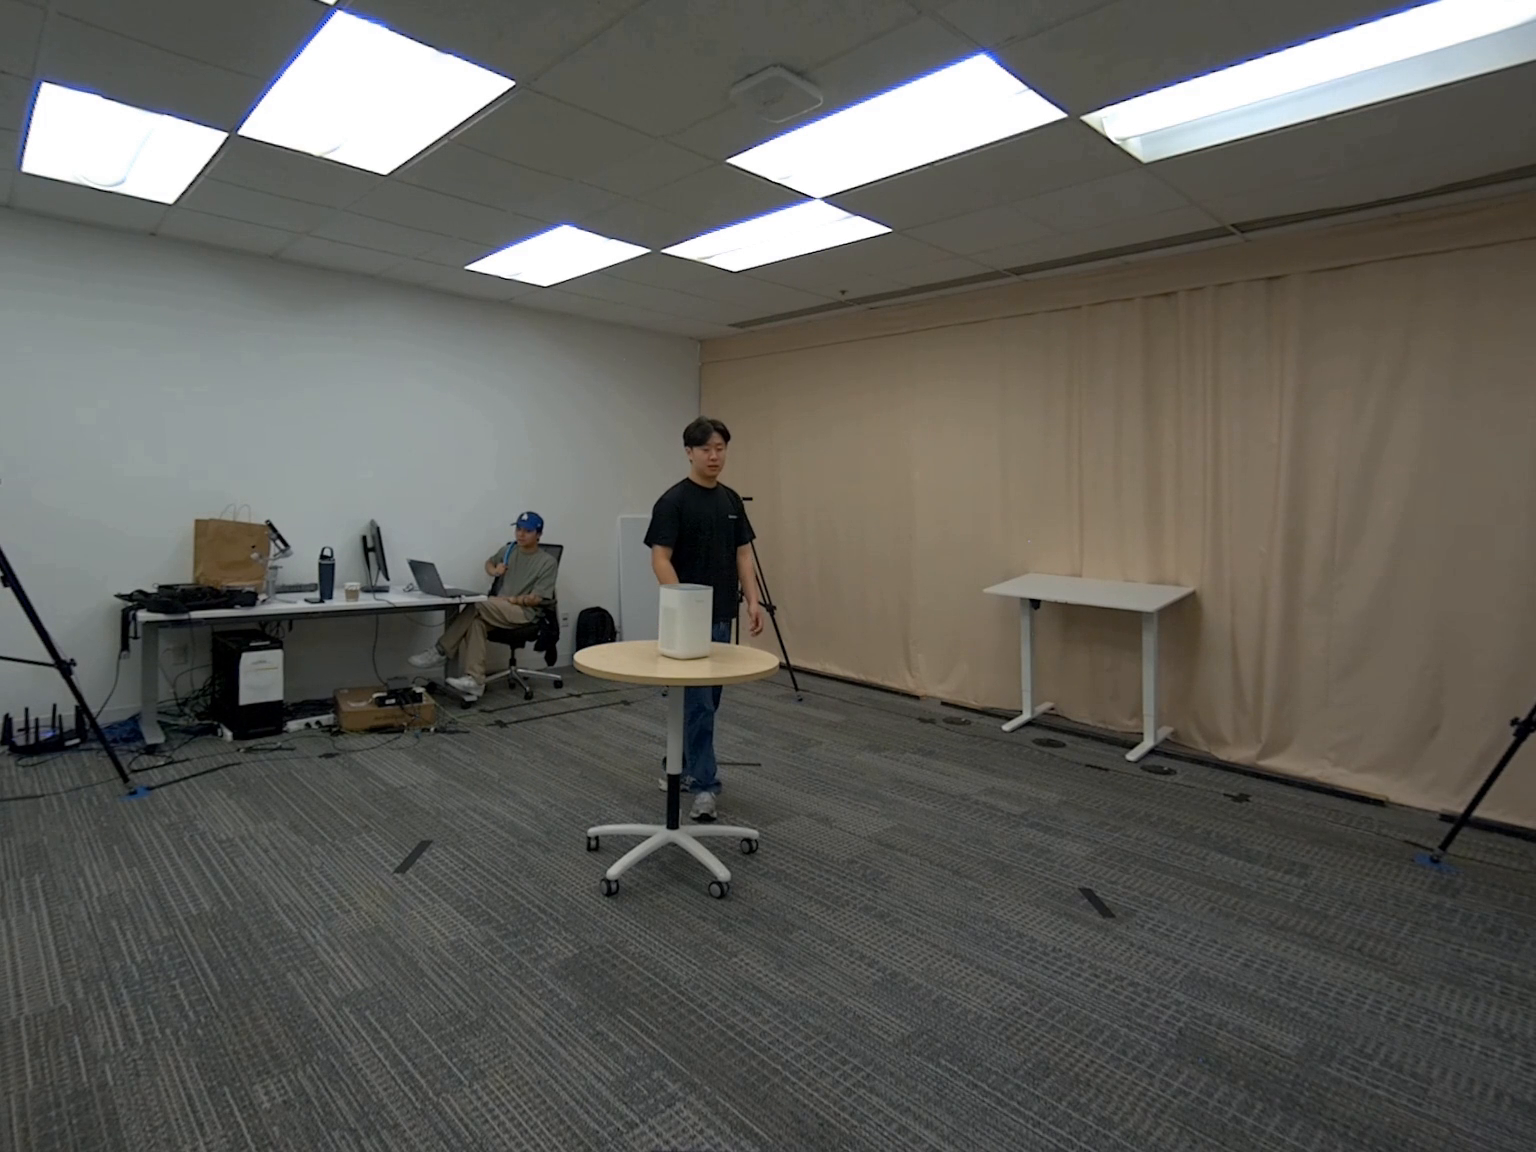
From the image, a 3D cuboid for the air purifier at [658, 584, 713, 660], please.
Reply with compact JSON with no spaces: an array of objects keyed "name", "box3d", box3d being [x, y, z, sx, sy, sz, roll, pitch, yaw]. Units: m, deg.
[{"name":"air purifier","box3d":[-0.328,0.172,3.171,0.167,0.265,0.176,-3,5,-44]}]
